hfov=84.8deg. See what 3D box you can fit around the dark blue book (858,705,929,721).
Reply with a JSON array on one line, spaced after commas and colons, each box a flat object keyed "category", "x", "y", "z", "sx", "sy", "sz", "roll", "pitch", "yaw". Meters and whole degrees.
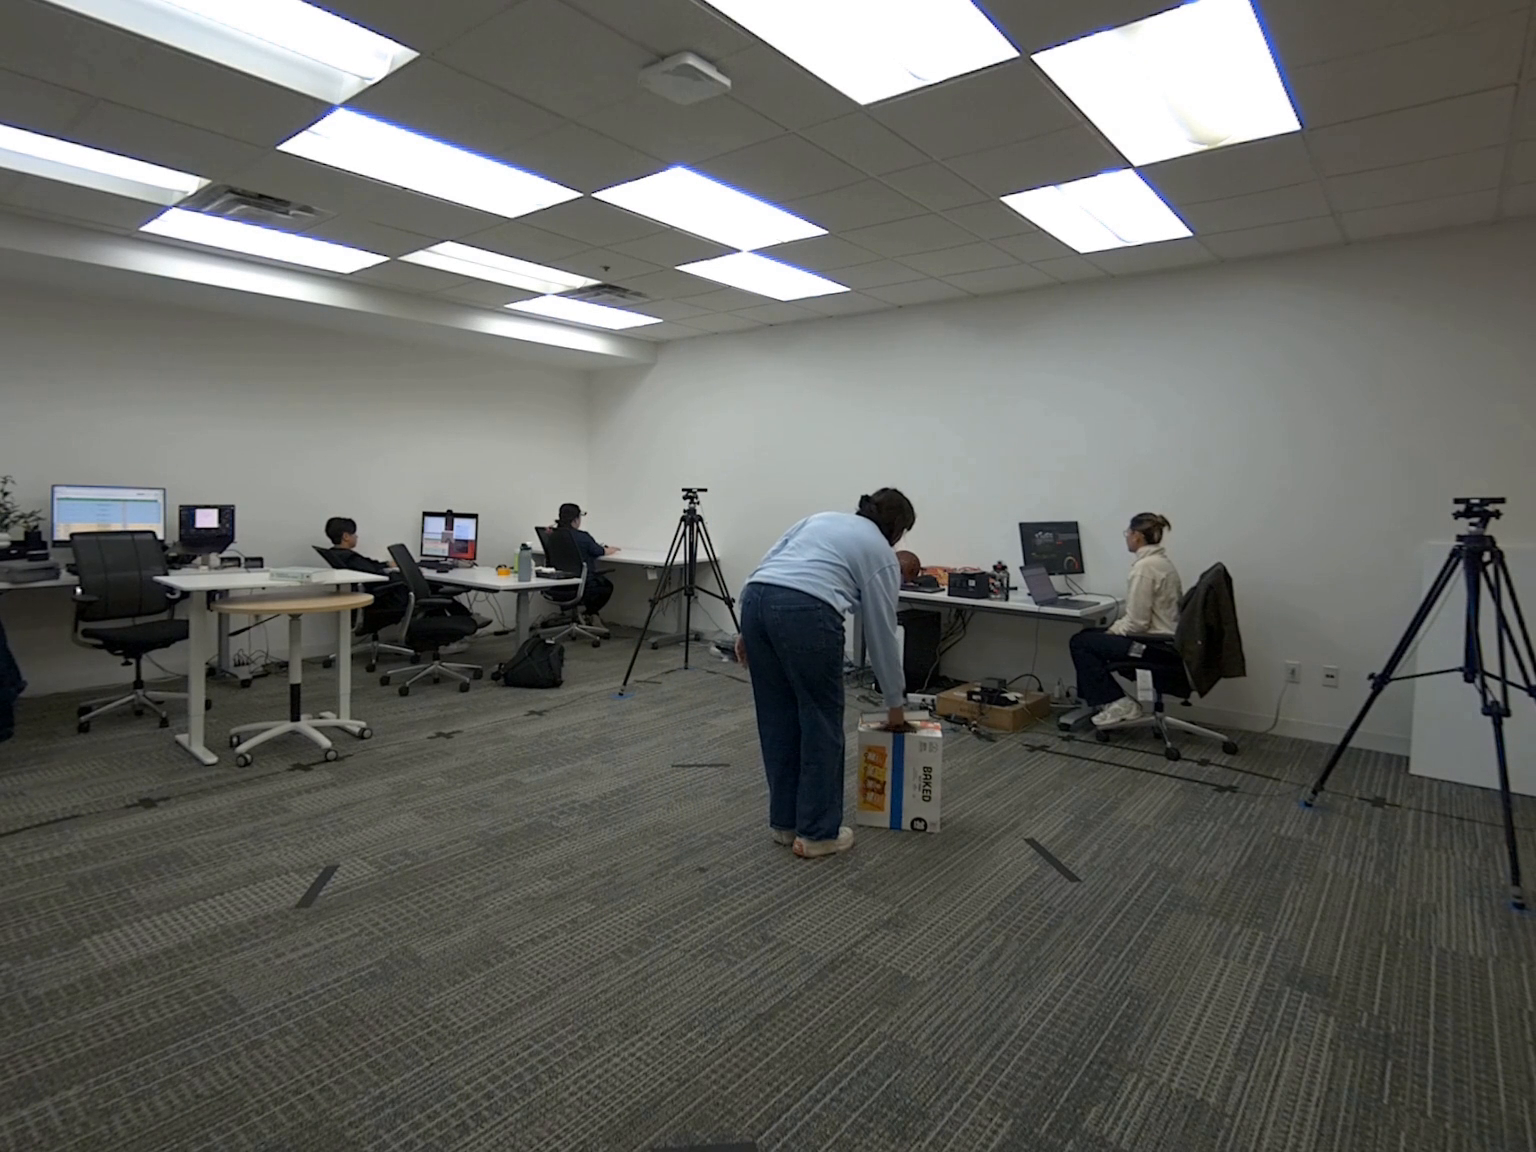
[{"category": "dark blue book", "x": 0.533, "y": 0.581, "z": 3.573, "sx": 0.237, "sy": 0.045, "sz": 0.167, "roll": 2, "pitch": -8, "yaw": -35}]
